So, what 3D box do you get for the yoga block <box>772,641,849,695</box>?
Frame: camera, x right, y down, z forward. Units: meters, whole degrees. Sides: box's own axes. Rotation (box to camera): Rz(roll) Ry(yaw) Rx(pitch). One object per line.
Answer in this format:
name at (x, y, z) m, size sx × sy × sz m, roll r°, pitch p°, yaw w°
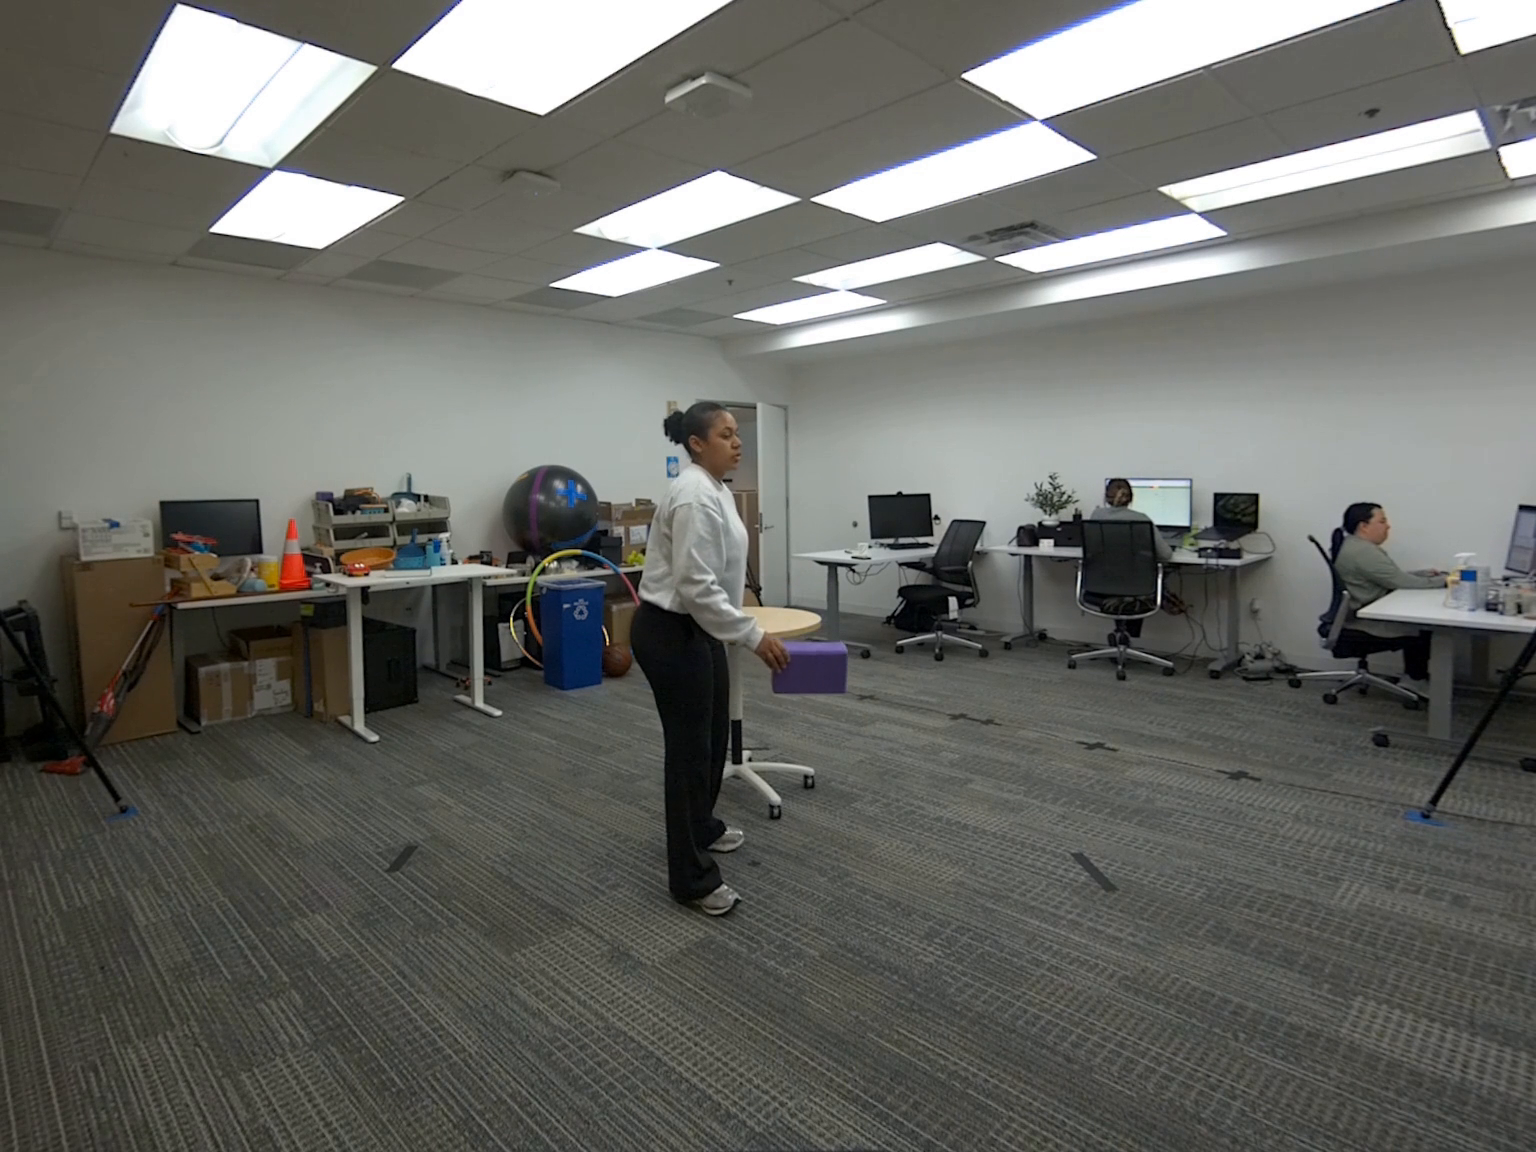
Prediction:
yoga block at (0.129, 0.287, 2.675) m, size 0.230 × 0.147 × 0.077 m, roll 1°, pitch 11°, yaw 1°
